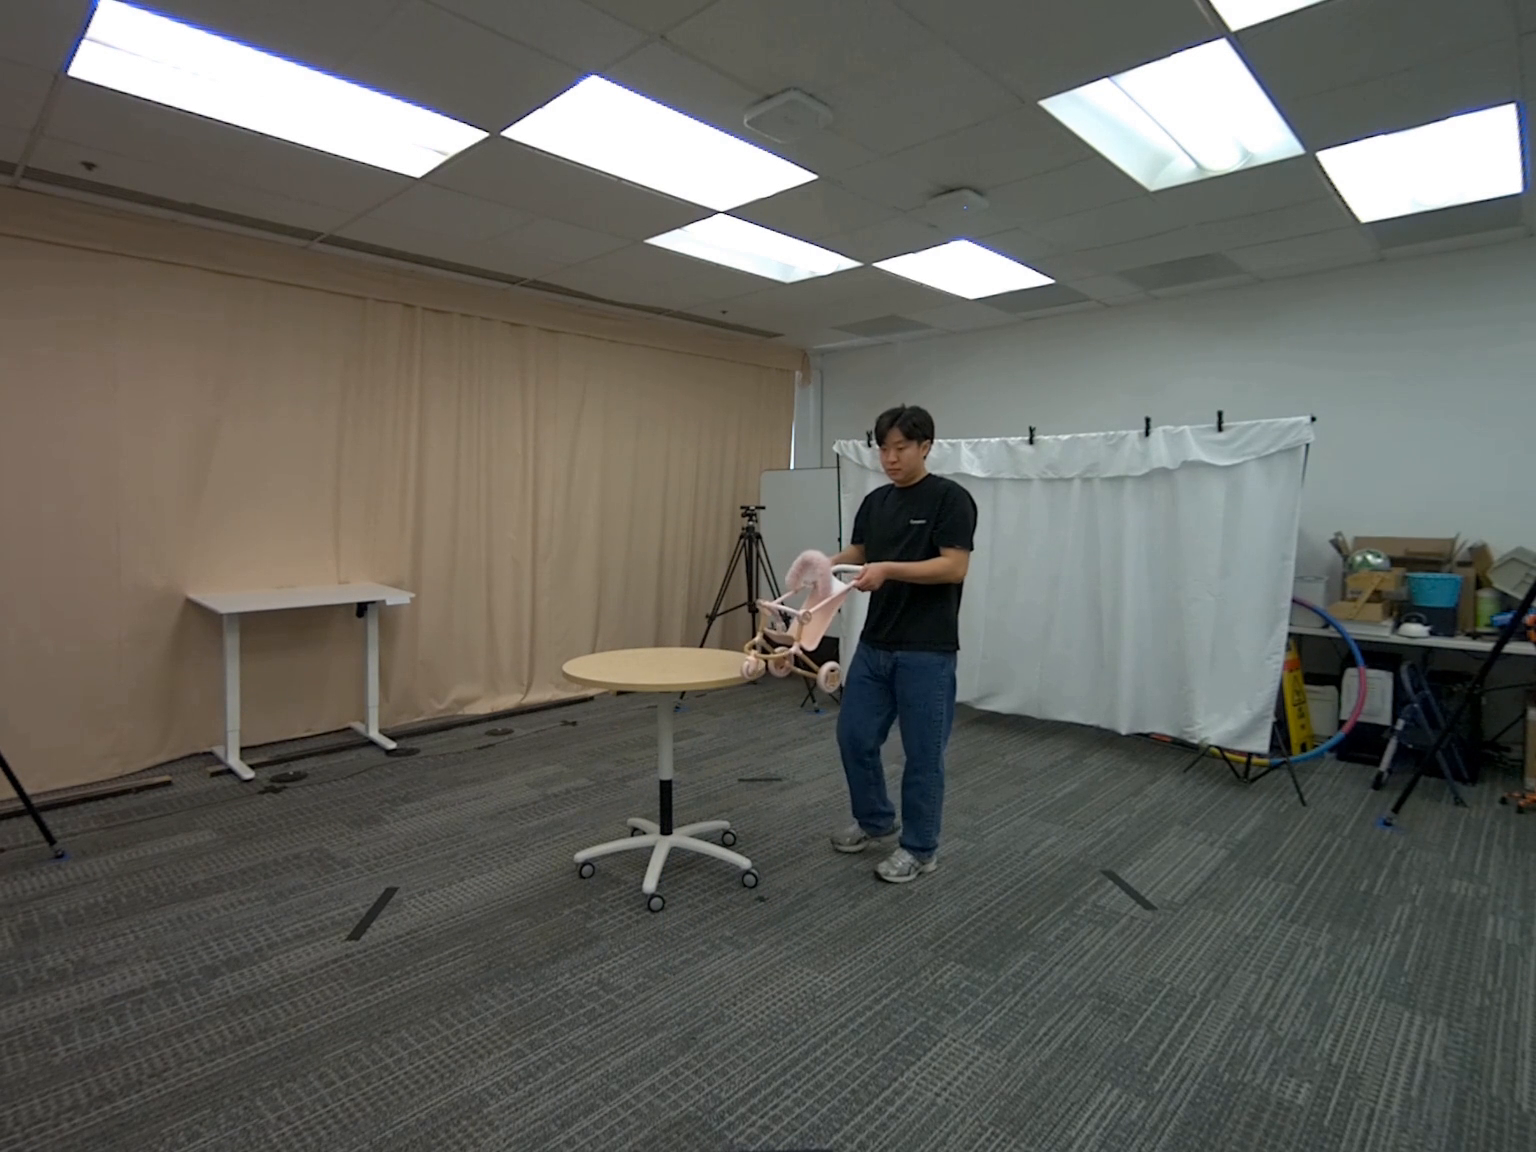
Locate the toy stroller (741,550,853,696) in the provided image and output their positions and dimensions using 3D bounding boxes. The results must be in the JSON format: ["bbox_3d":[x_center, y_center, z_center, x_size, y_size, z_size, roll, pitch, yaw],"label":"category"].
[{"bbox_3d":[0.112,0.148,2.925,0.330,0.536,0.290,28,-11,-33],"label":"toy stroller"}]
